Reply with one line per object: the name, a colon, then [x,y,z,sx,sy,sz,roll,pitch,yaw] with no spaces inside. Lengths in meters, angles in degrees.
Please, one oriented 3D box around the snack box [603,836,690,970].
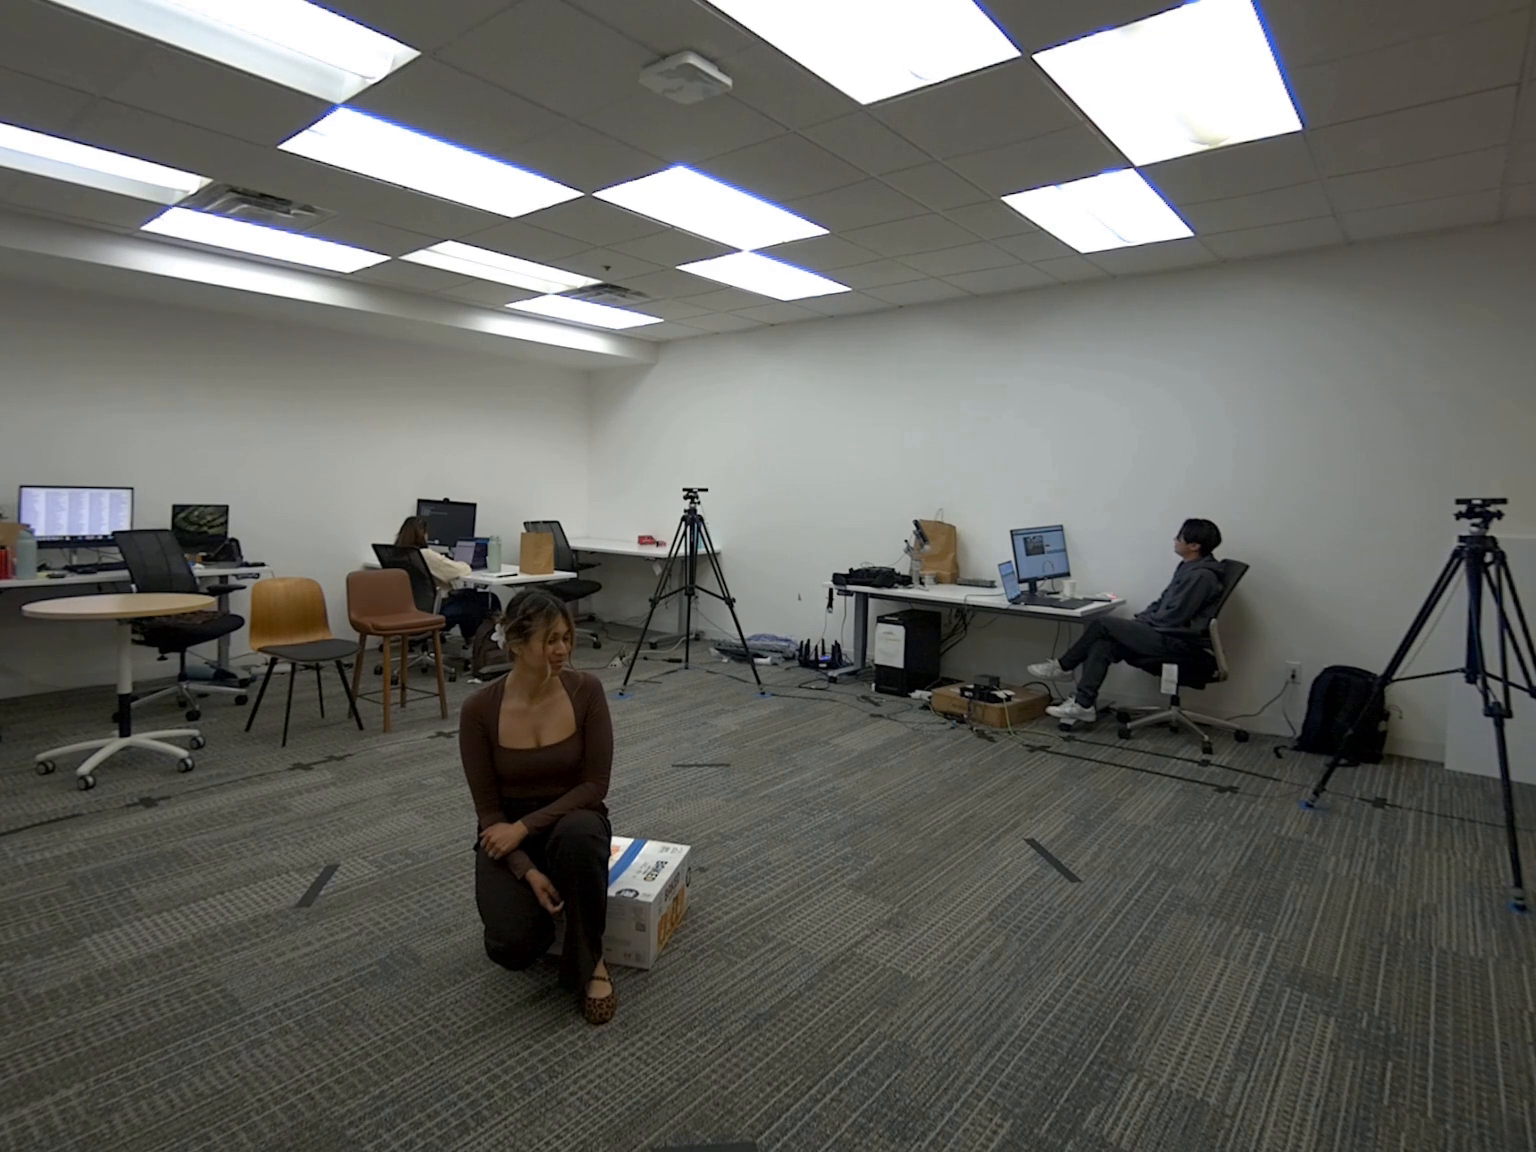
snack box: [-0.469,1.009,2.670,0.345,0.205,0.401,1,5,13]
